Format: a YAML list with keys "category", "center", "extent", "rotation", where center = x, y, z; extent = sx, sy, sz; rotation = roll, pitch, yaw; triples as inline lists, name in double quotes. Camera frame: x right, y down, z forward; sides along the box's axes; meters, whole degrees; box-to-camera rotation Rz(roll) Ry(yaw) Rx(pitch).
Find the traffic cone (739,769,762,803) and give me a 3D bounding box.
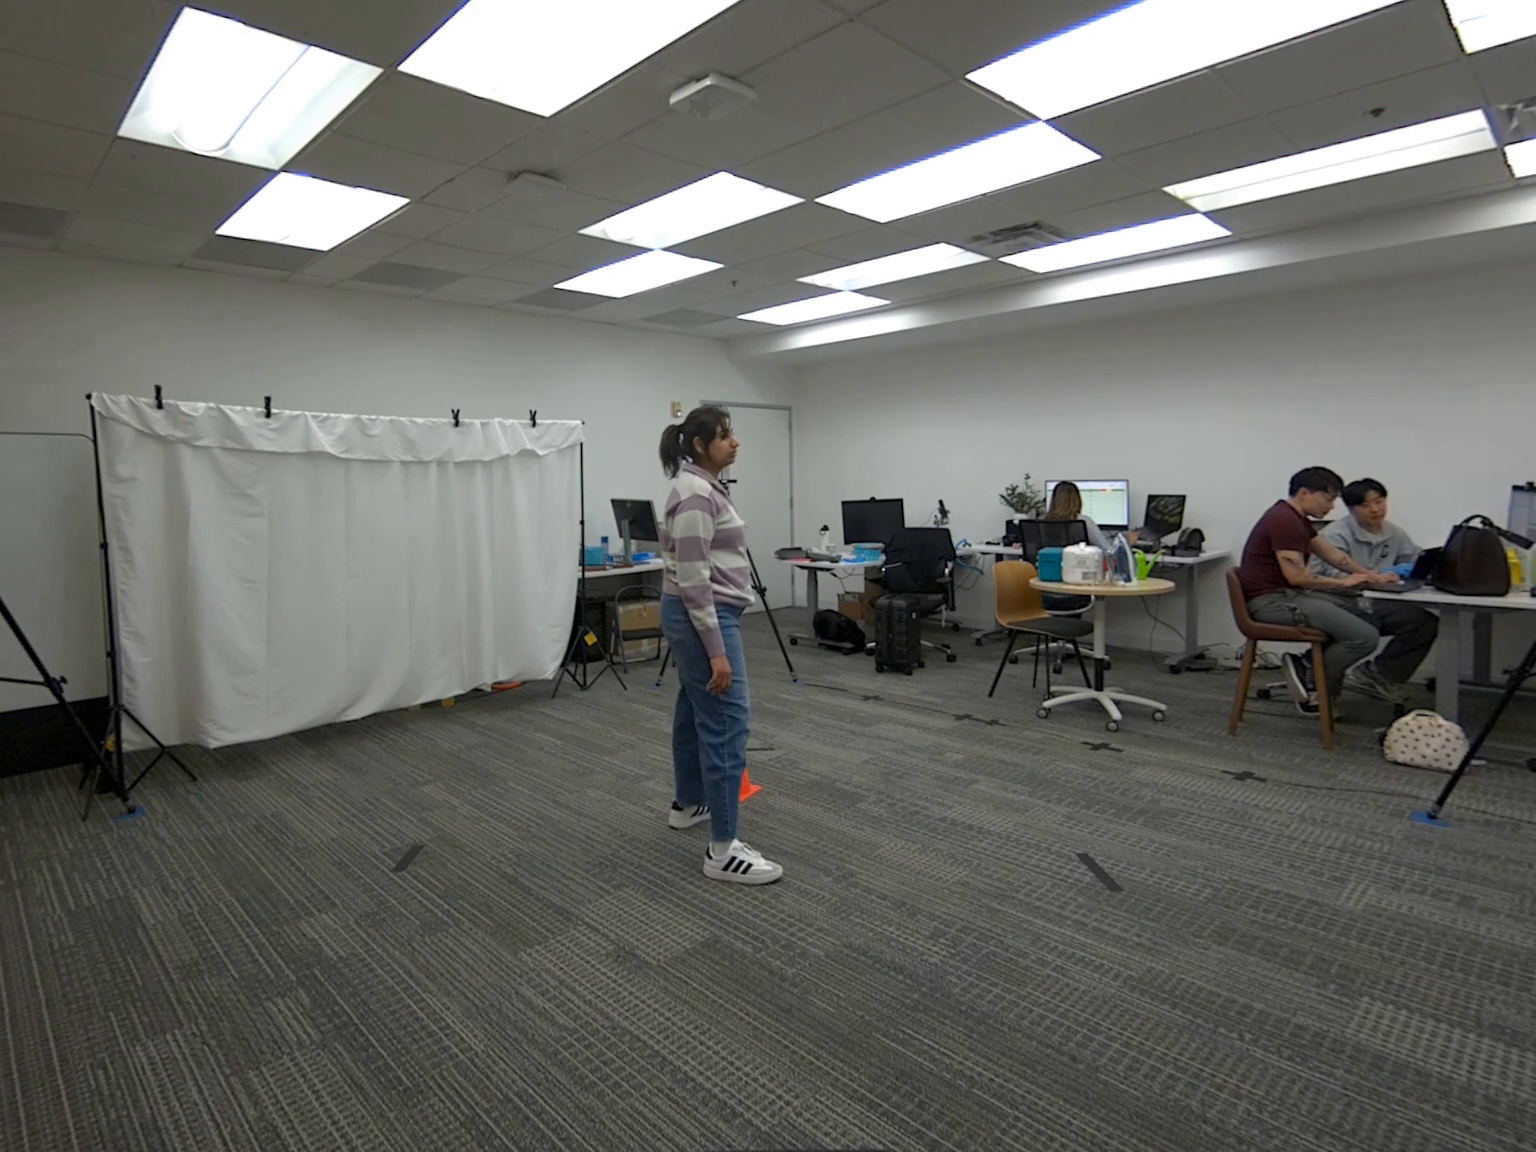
- category: "traffic cone"
  center: [-0.164, 0.785, 3.843]
  extent: [0.209, 0.382, 0.200]
  rotation: [0, 5, 33]
